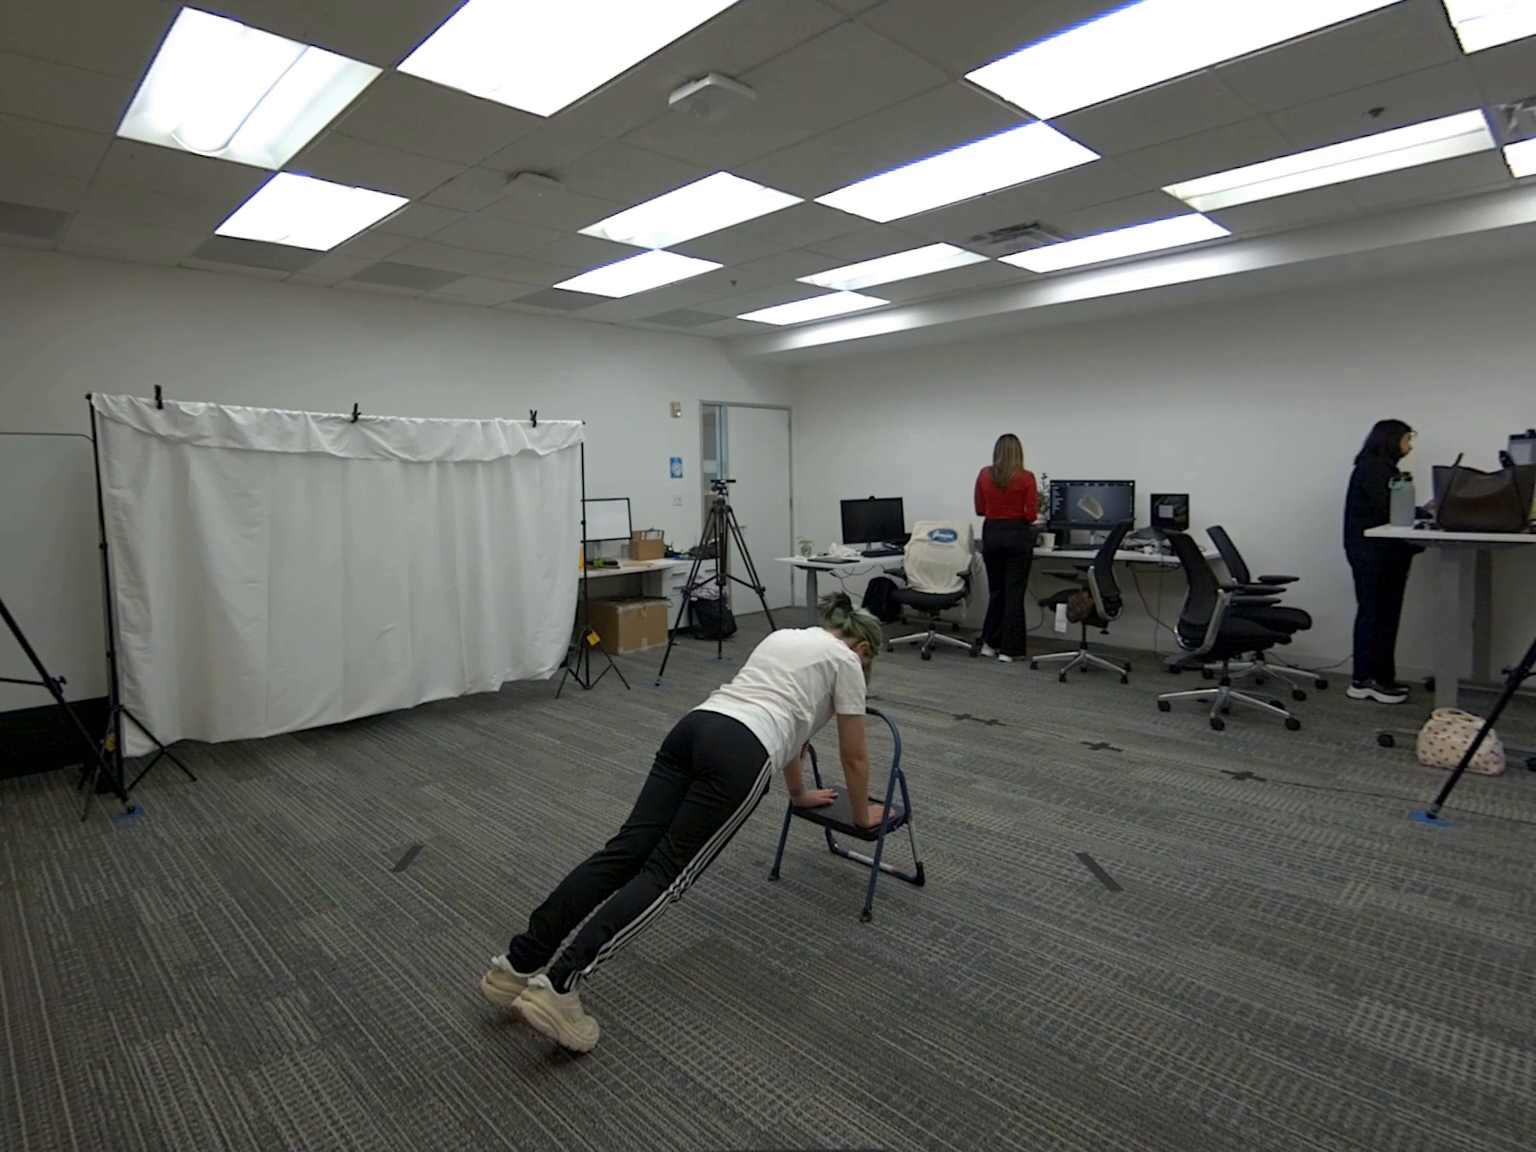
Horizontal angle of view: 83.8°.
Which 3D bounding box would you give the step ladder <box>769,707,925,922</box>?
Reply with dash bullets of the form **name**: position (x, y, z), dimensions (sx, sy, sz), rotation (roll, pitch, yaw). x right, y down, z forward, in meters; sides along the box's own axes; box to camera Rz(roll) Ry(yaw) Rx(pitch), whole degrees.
- **step ladder**: position (0.272, 0.759, 2.939), dimensions (0.444, 0.604, 0.340), rotation (4, 6, 45)
